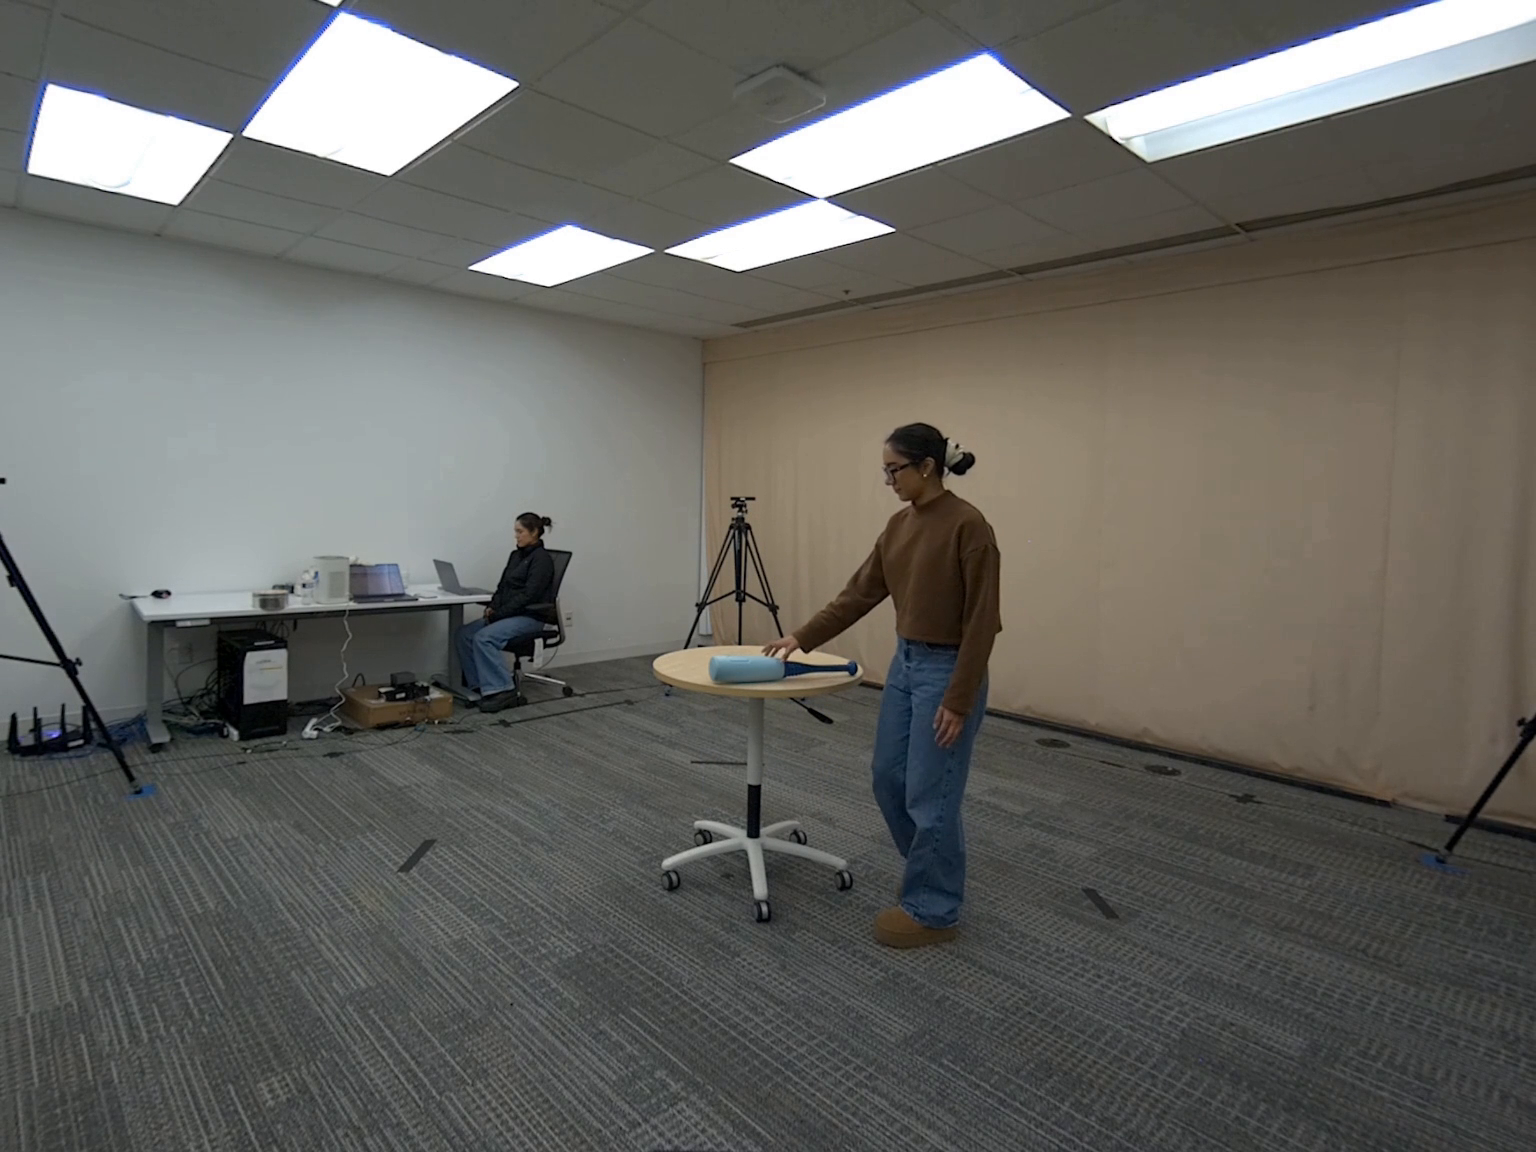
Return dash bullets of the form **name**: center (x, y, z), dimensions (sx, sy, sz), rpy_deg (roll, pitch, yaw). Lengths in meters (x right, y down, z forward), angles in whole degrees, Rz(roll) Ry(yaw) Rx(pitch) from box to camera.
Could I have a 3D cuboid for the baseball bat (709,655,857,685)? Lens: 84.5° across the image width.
- **baseball bat**: center (0.060, 0.320, 2.852), dimensions (0.534, 0.089, 0.090), rpy_deg (4, 3, -19)
